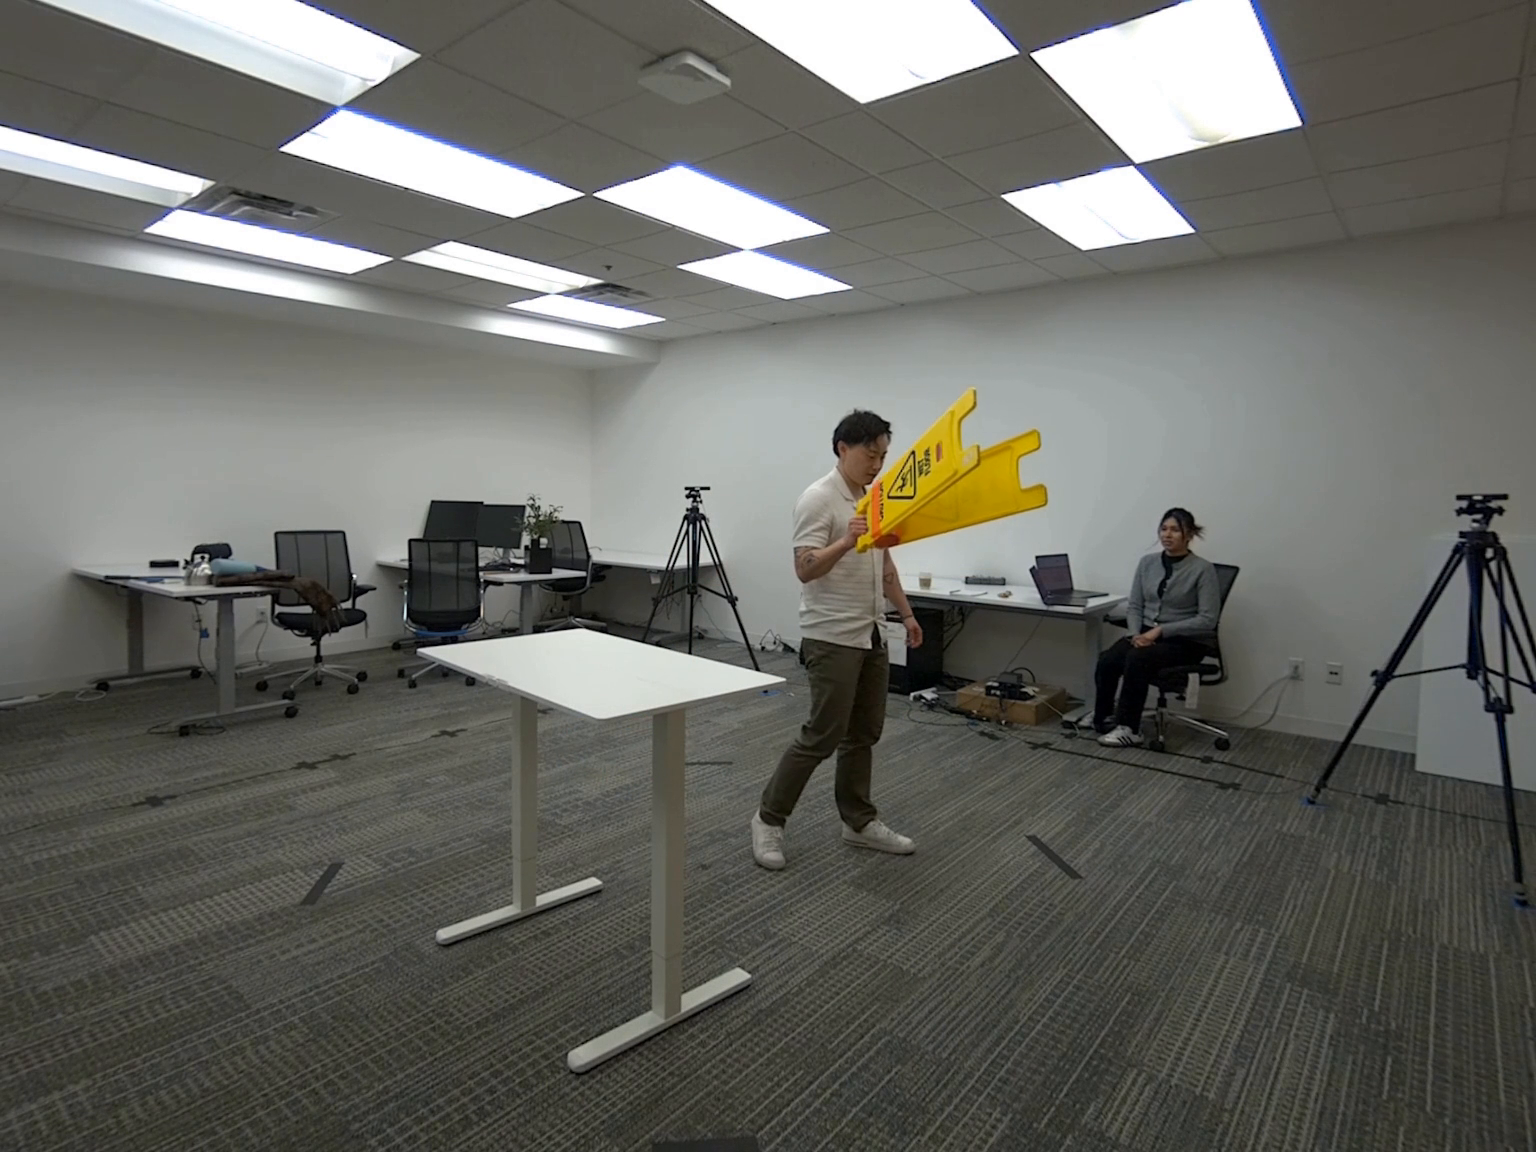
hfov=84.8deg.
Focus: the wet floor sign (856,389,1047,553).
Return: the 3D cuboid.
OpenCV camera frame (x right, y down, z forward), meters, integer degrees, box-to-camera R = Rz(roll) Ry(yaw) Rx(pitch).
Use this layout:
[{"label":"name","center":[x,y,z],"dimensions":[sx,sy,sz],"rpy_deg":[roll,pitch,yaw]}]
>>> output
[{"label":"wet floor sign","center":[0.494,-0.271,2.689],"dimensions":[0.280,0.288,0.654],"rpy_deg":[26,-35,-30]}]
